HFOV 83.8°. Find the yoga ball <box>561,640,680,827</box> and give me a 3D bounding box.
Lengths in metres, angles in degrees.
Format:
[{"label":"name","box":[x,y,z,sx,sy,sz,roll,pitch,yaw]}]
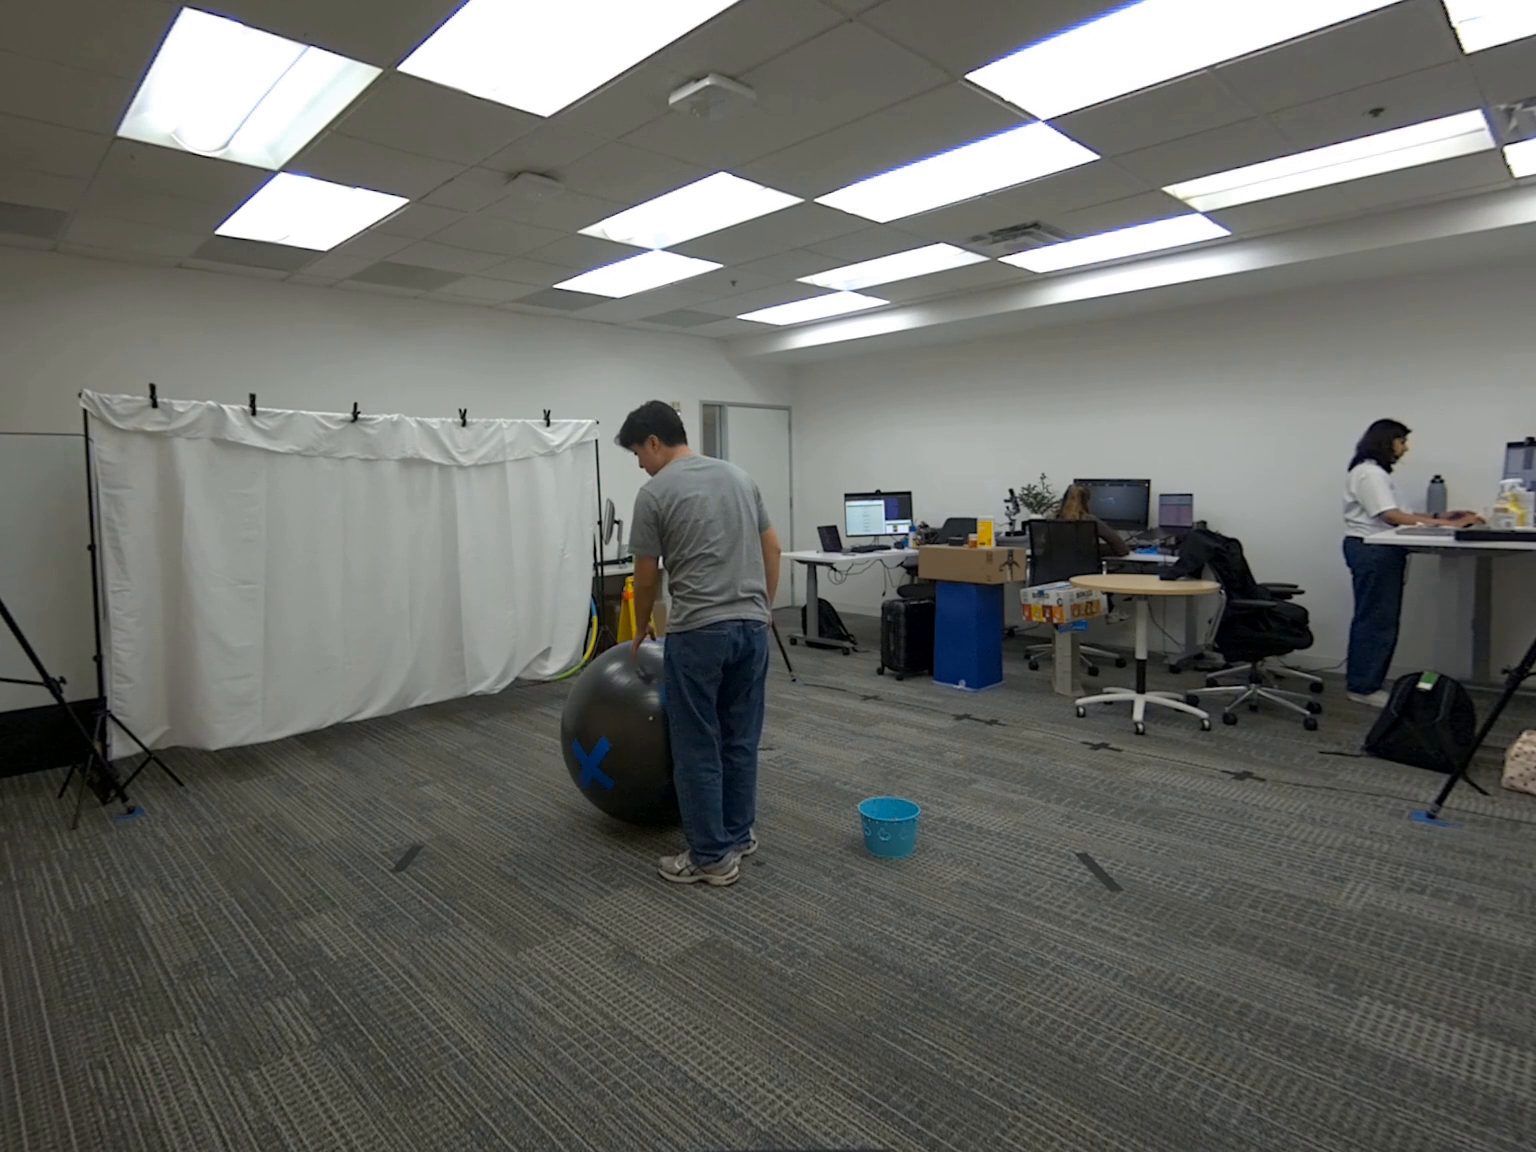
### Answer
[{"label":"yoga ball","box":[-0.474,0.635,3.538,0.757,0.755,0.762,-1,5,-2]}]
